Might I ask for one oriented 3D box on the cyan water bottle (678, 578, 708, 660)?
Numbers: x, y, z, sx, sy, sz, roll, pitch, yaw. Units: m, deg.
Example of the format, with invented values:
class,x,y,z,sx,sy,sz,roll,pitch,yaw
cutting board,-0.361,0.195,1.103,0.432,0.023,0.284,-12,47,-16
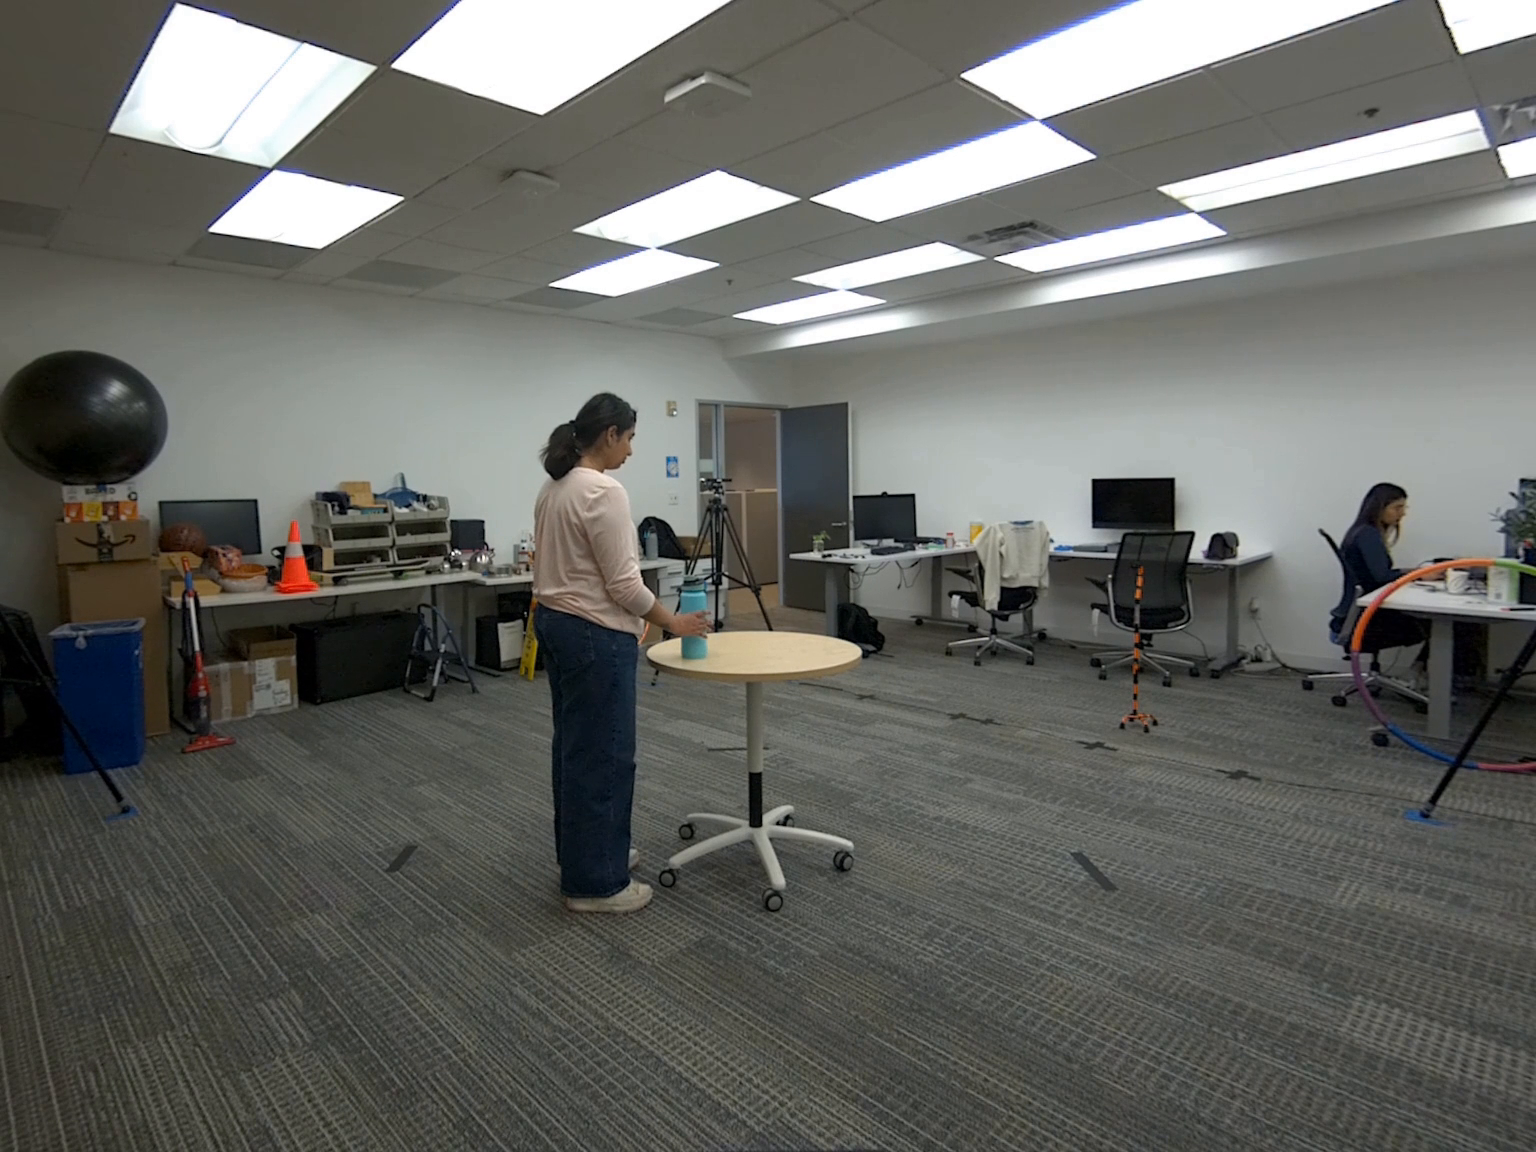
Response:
class,x,y,z,sx,sy,sz,roll,pitch,yaw
cyan water bottle,-0.255,0.139,2.947,0.092,0.282,0.093,0,3,-2
